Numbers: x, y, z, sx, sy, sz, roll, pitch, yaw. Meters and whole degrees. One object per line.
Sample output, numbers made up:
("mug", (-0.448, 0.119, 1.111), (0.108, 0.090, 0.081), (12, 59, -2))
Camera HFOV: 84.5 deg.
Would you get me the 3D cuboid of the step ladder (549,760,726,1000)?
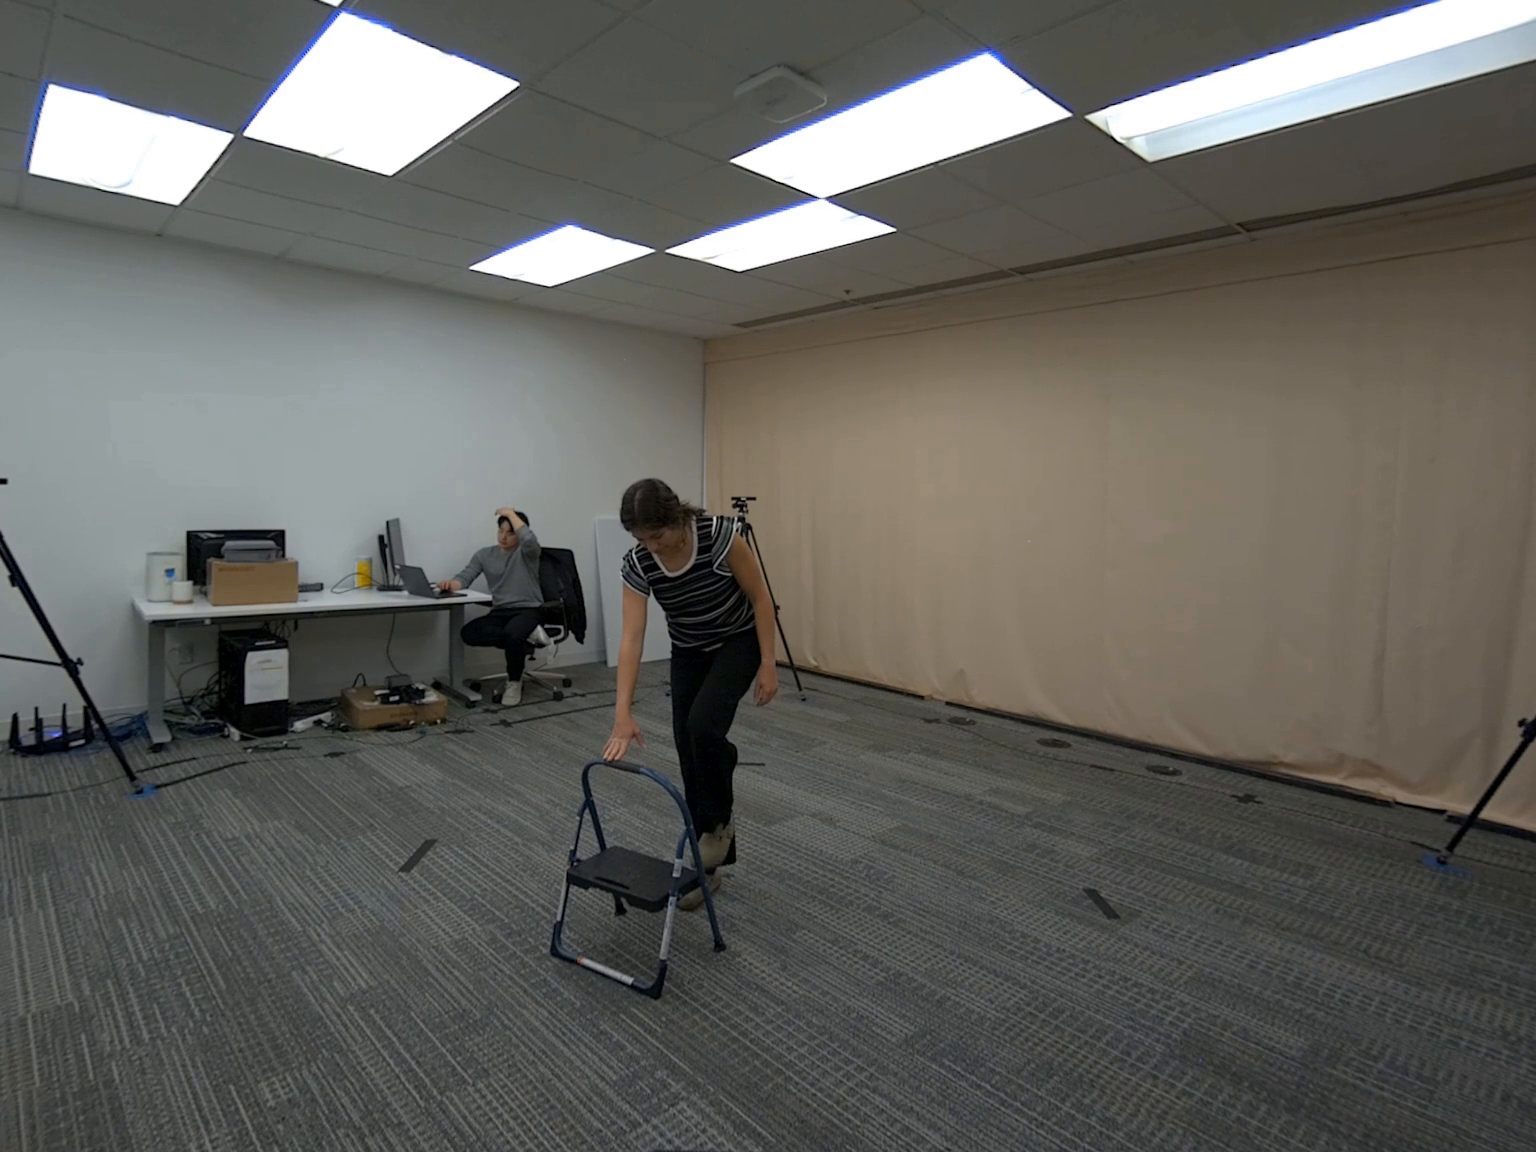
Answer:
("step ladder", (-0.400, 0.849, 2.562), (0.440, 0.605, 0.342), (3, 3, 31))
